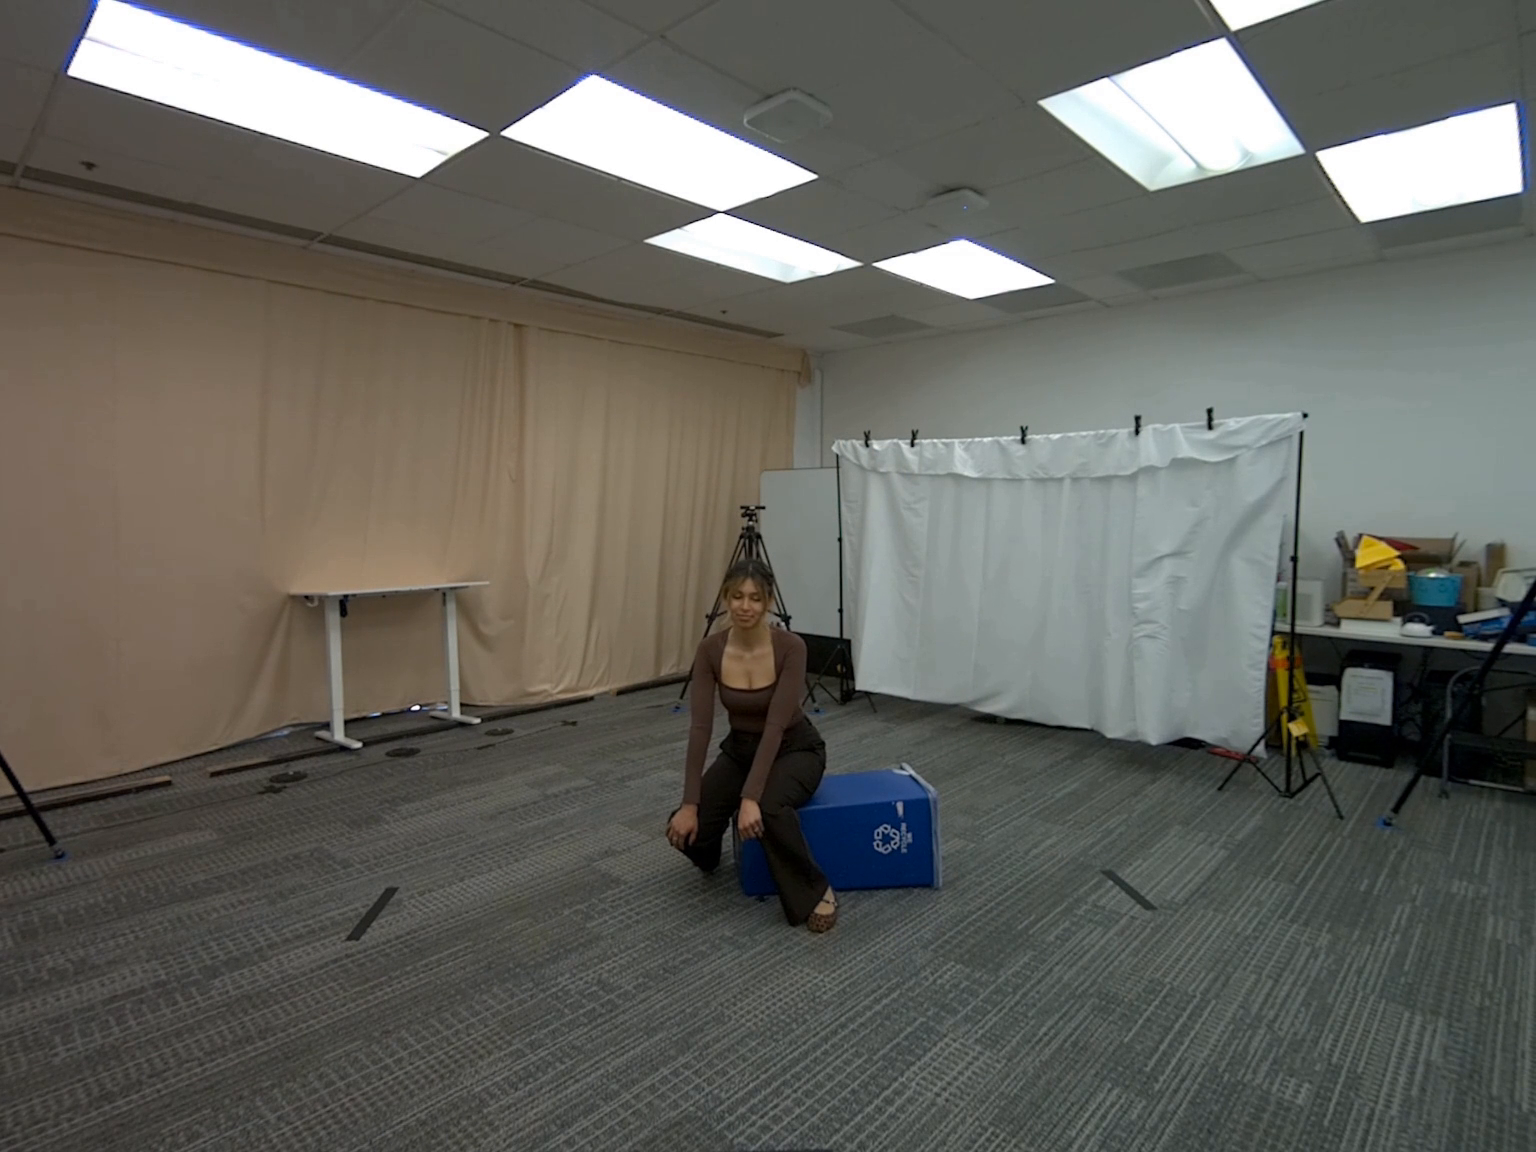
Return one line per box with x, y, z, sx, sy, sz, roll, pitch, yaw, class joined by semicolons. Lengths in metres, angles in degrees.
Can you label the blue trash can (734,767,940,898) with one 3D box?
0.248;0.961;3.158;0.708;0.377;0.378;-4;5;-8;blue trash can
